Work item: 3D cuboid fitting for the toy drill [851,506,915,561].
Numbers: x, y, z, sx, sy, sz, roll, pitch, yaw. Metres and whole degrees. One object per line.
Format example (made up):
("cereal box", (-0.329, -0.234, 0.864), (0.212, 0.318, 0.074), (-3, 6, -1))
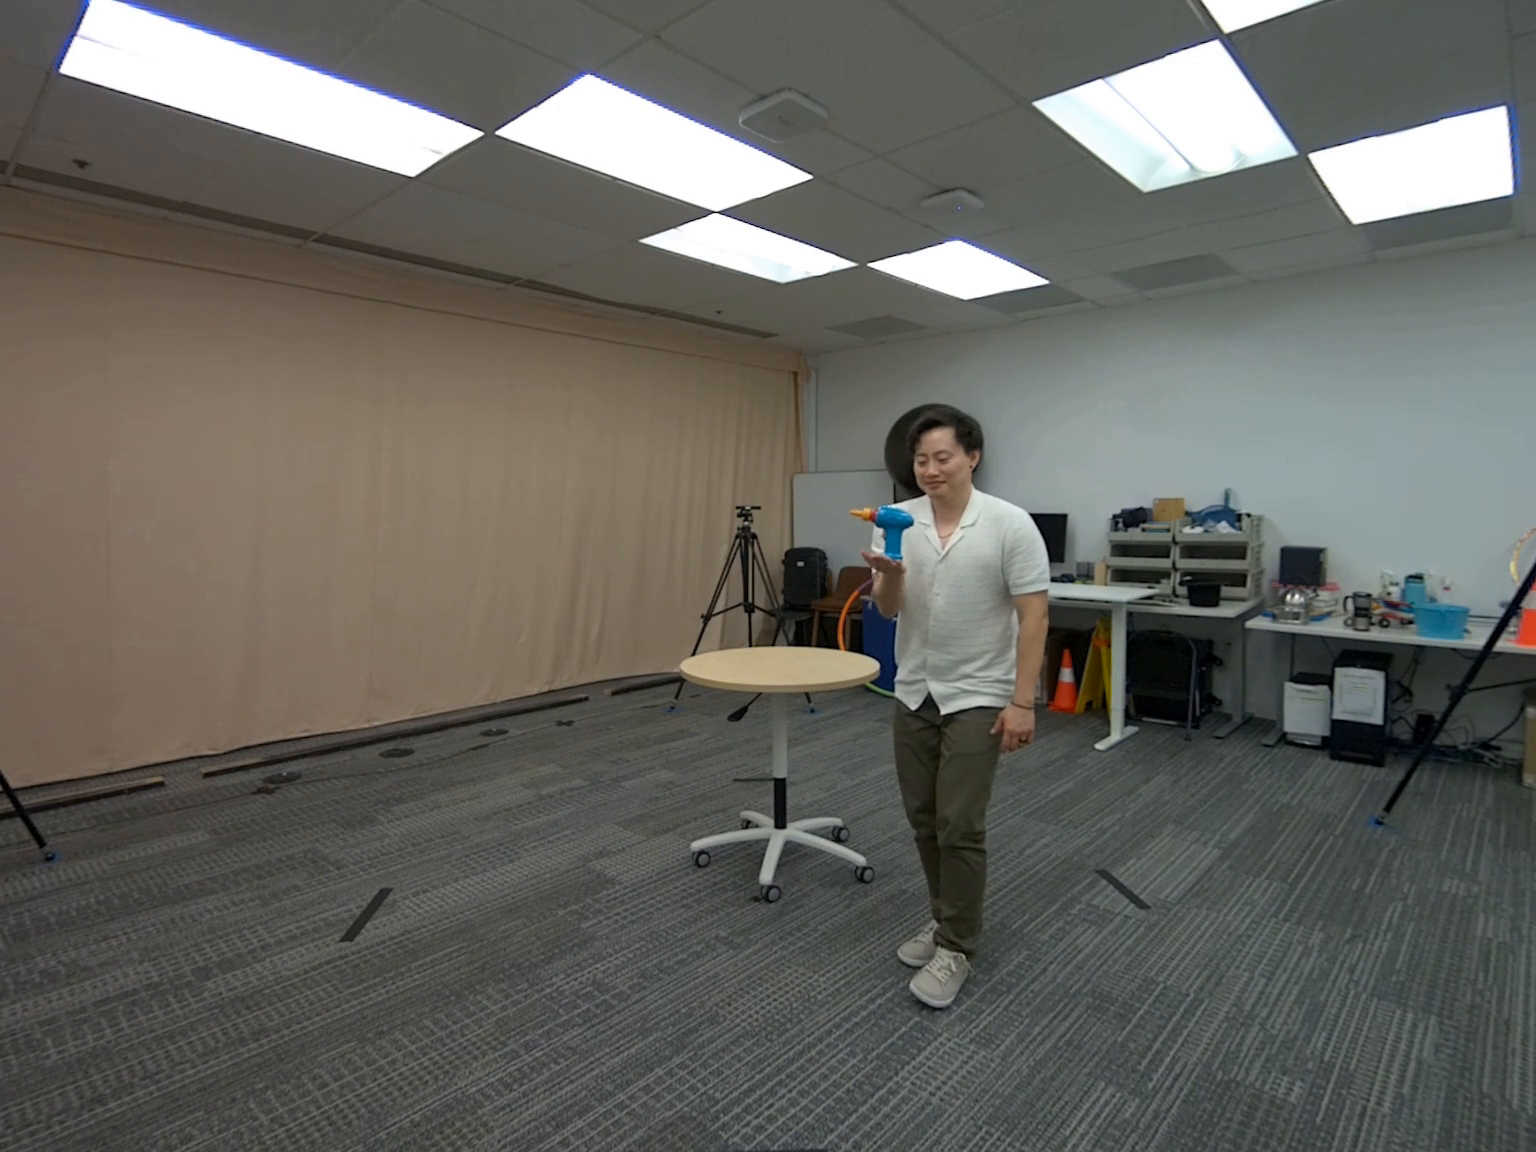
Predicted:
("toy drill", (0.299, -0.117, 2.211), (0.171, 0.145, 0.061), (10, 6, 7))
